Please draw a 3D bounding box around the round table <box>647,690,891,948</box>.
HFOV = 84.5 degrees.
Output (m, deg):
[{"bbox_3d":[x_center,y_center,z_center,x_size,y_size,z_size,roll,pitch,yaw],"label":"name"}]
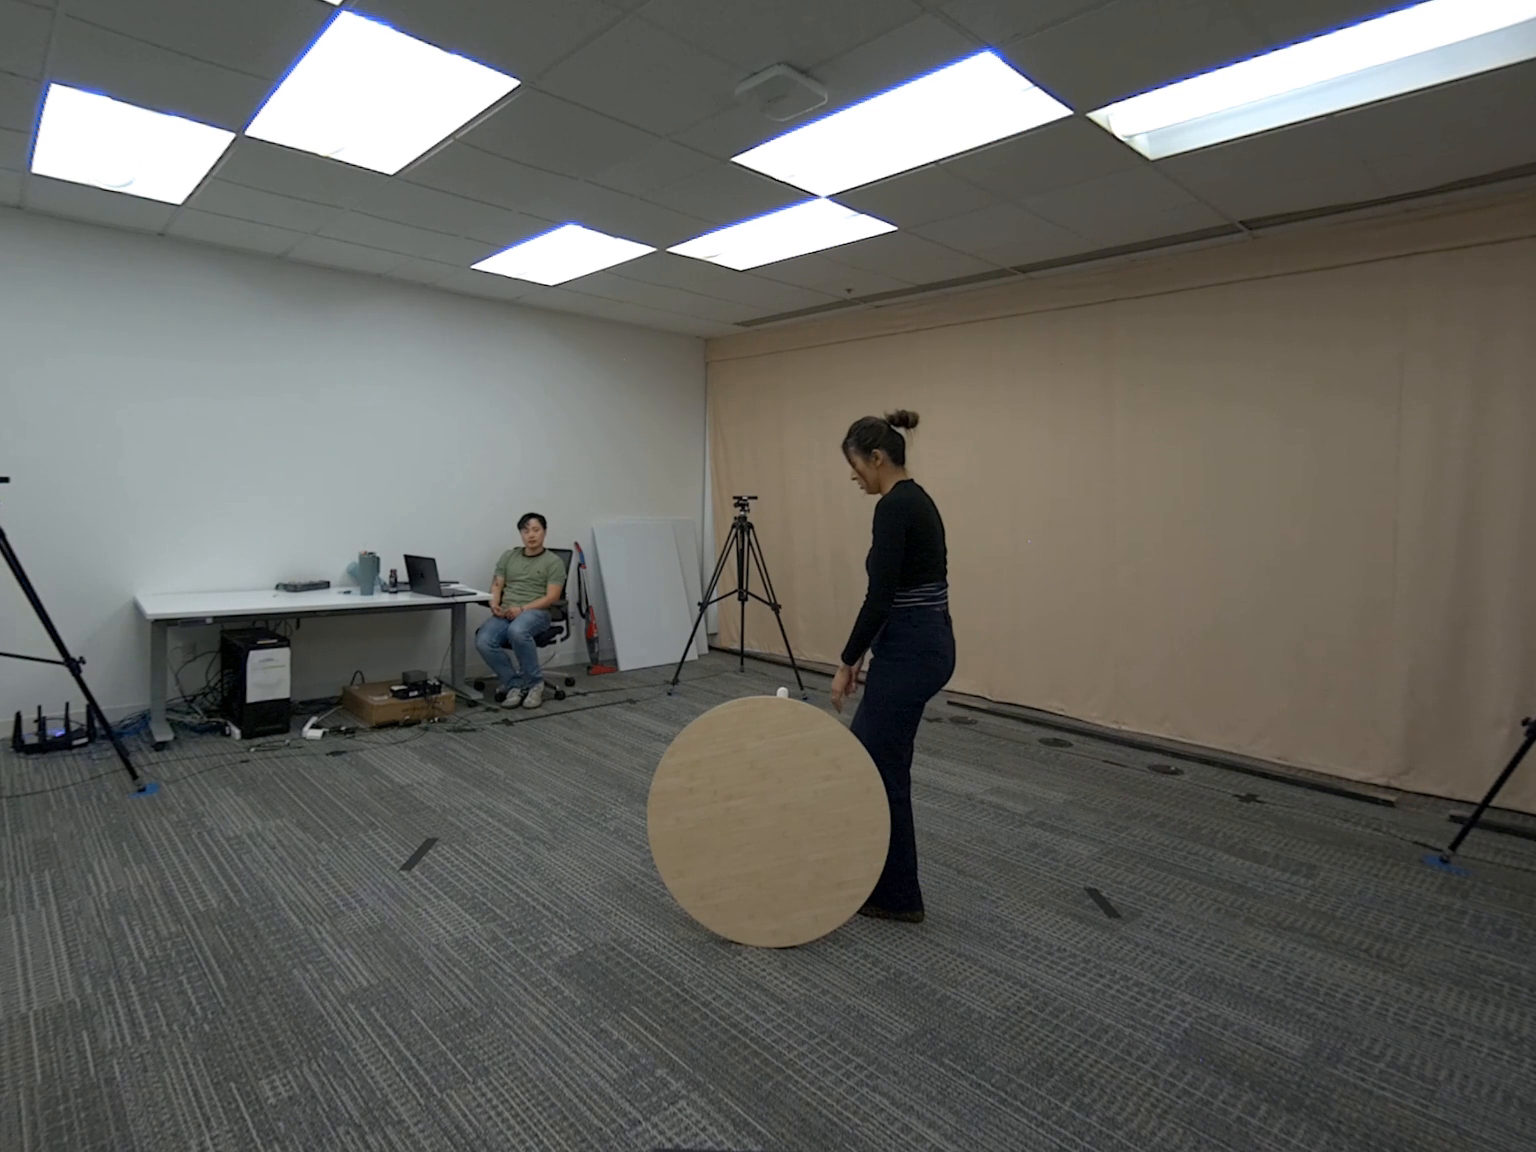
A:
[{"bbox_3d":[0.013,0.789,3.027,0.768,0.766,0.788,2,-3,5],"label":"round table"}]
